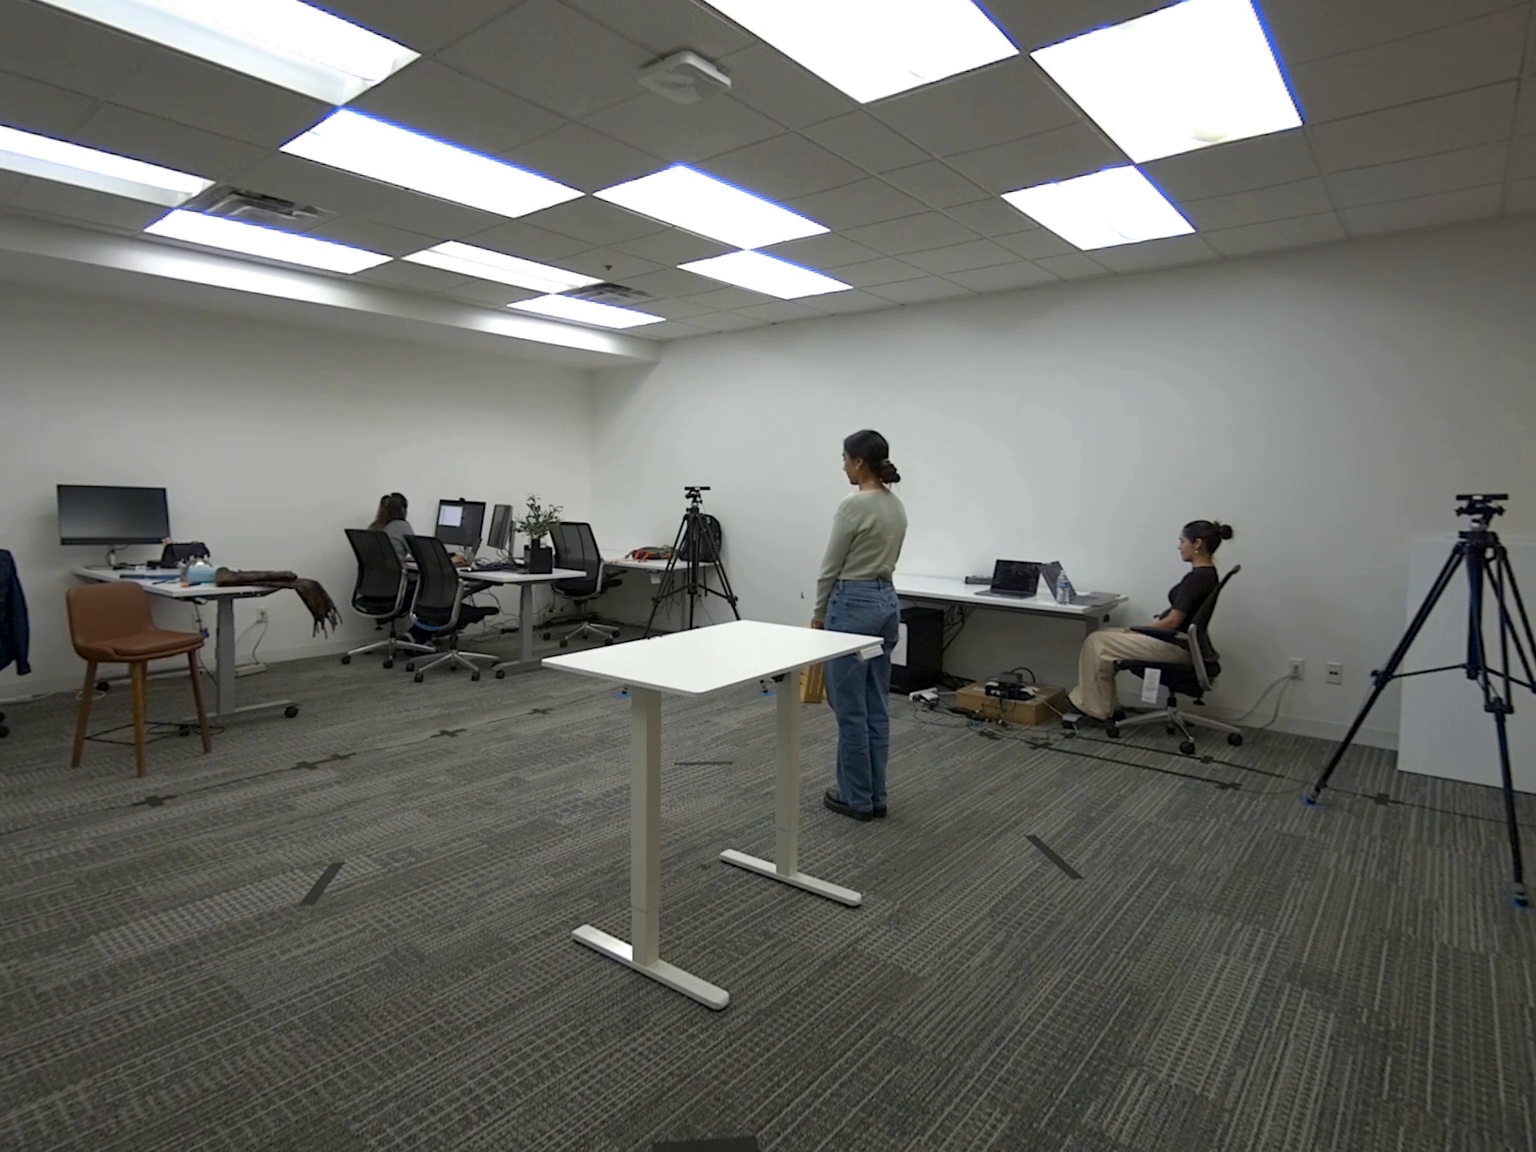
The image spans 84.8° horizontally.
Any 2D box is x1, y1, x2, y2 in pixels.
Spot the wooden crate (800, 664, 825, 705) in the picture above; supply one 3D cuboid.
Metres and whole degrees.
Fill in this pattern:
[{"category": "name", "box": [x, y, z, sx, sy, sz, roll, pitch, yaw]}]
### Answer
[{"category": "wooden crate", "box": [0.206, 0.381, 3.843, 0.266, 0.323, 0.312, 6, 5, -28]}]
